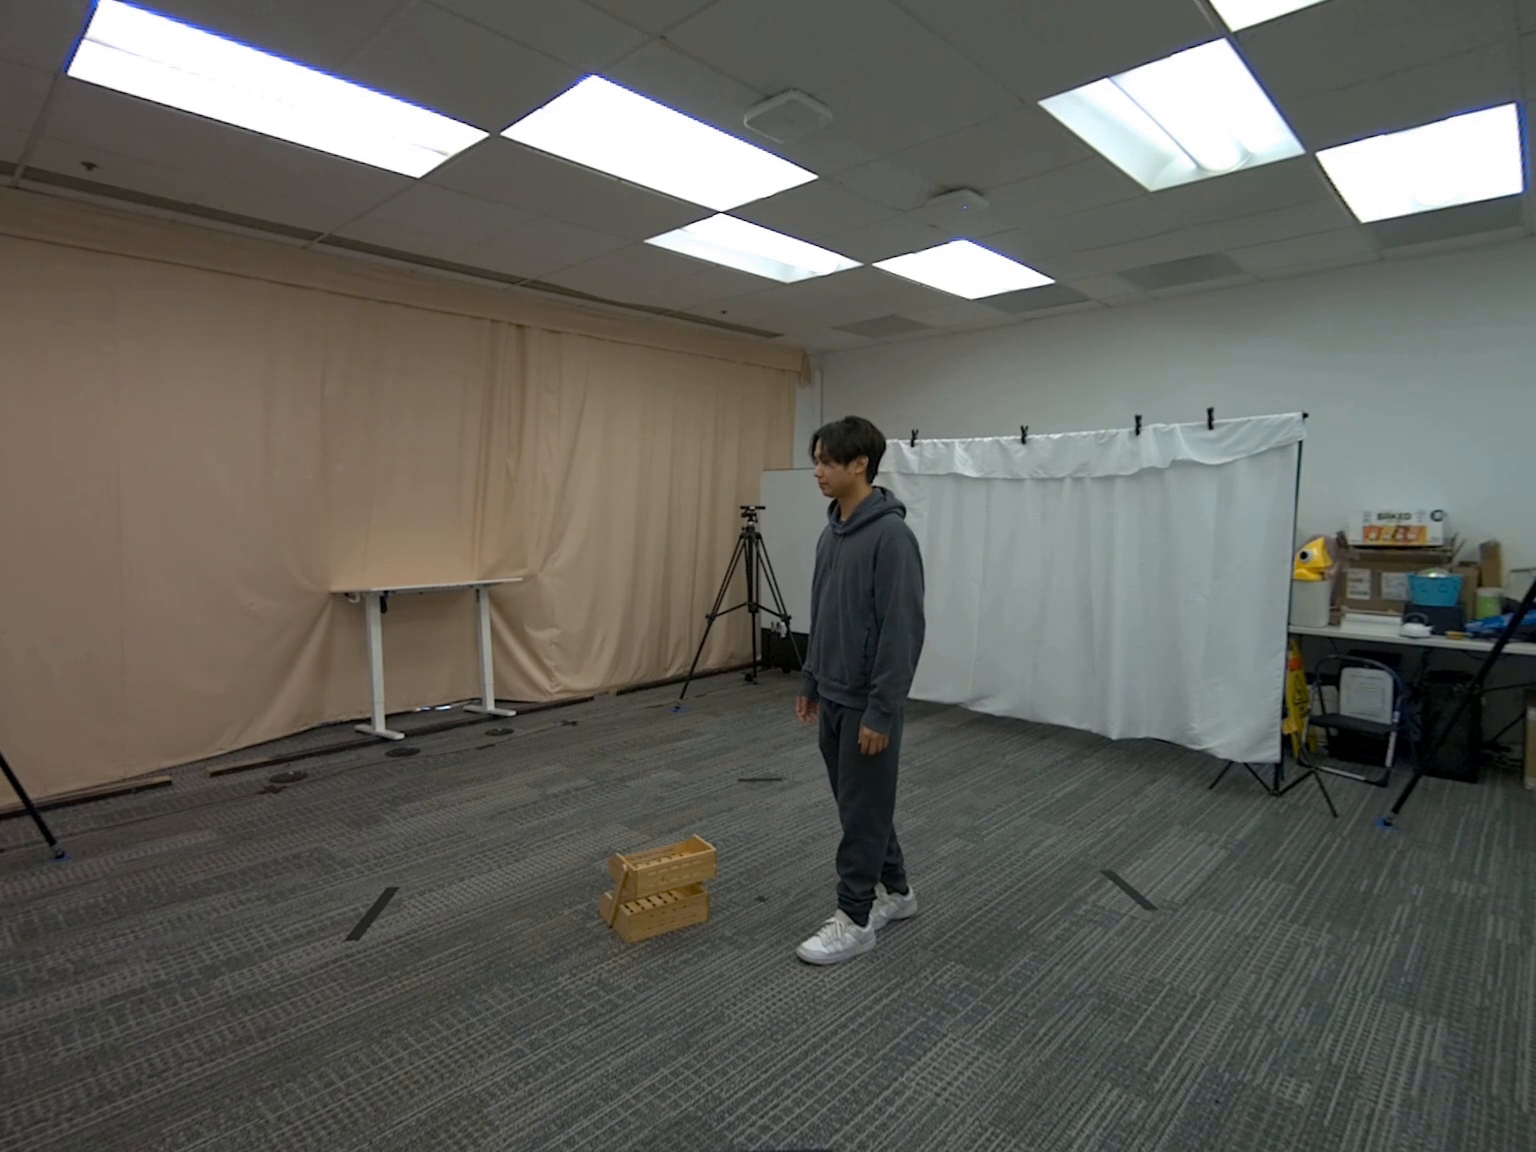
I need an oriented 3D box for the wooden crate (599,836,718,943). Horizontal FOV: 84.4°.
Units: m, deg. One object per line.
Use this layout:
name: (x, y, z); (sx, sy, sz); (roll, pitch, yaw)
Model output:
wooden crate: (-0.375, 1.028, 2.839); (0.315, 0.272, 0.311); (-3, 5, -33)
